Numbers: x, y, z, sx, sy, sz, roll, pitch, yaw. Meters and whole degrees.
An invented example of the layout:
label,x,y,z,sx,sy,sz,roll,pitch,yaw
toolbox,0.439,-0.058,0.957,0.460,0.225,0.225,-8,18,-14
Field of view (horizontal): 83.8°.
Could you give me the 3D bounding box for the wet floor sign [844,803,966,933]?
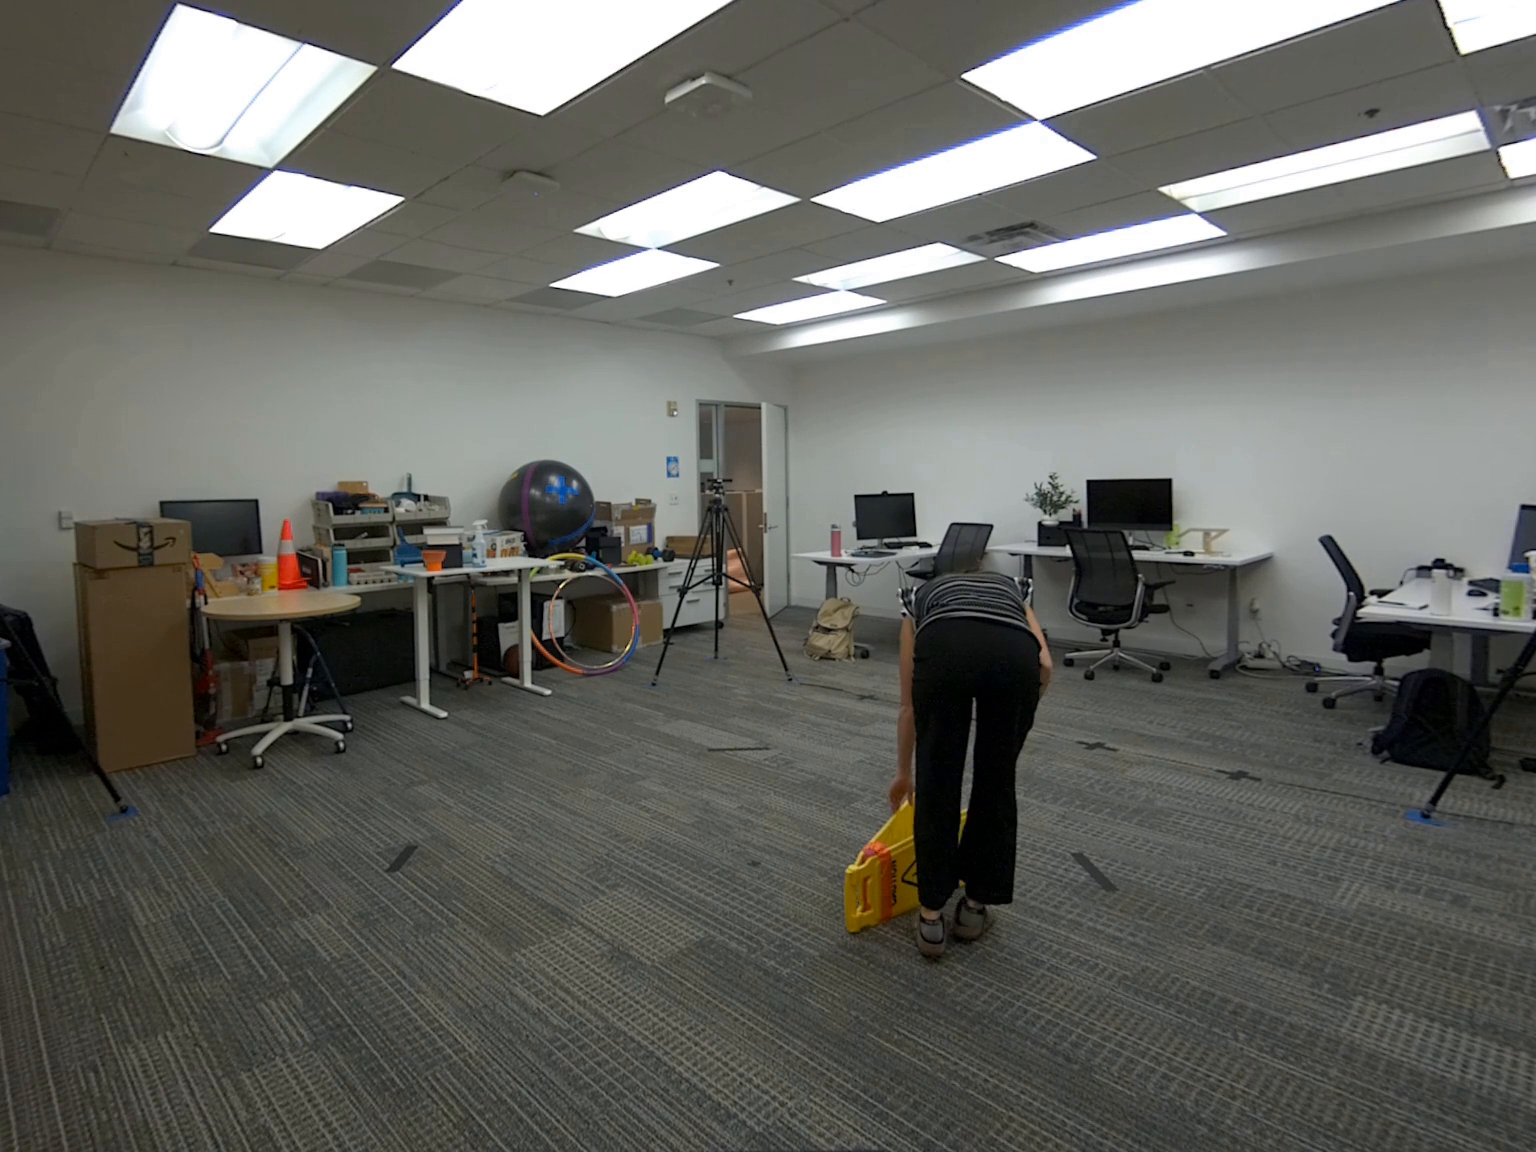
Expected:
label,x,y,z,sx,sy,sz,roll,pitch,yaw
wet floor sign,0.462,0.944,2.816,0.299,0.280,0.631,4,11,42
